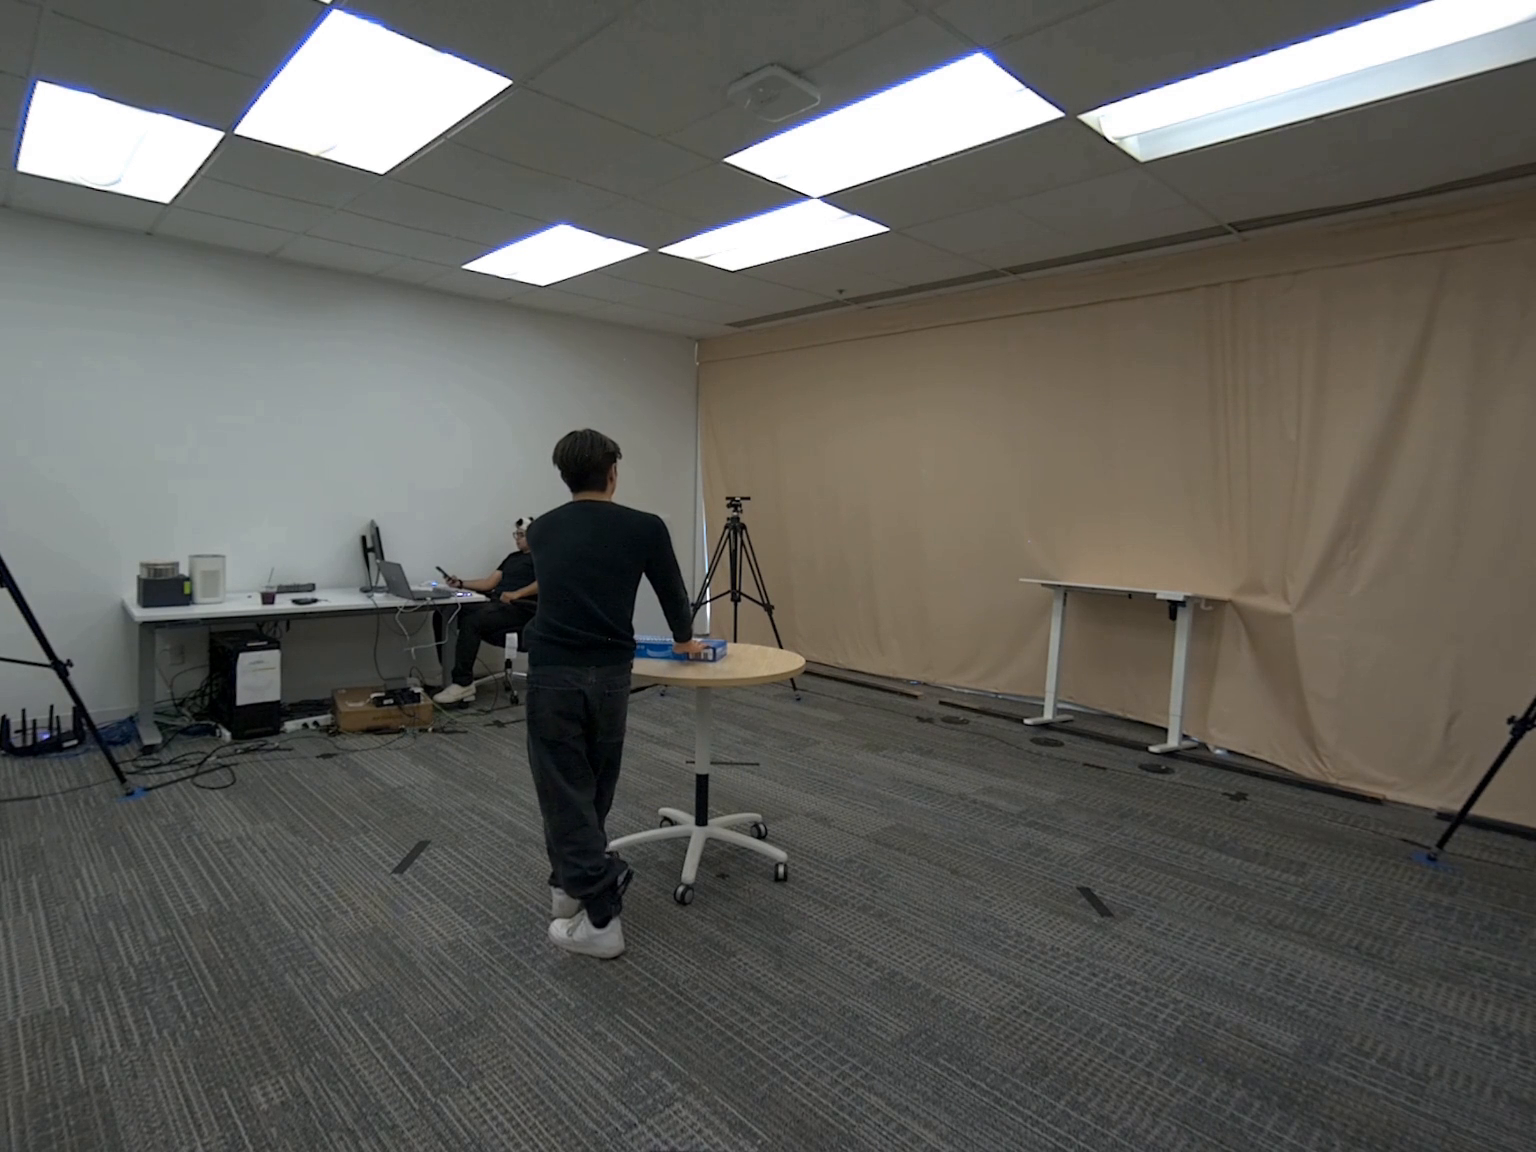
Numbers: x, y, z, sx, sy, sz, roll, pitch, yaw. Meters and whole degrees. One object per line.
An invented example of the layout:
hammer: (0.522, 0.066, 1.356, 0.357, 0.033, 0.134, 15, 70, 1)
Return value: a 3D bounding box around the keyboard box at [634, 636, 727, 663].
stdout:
keyboard box: (-0.400, 0.277, 3.248, 0.442, 0.059, 0.174, 2, 6, 14)
